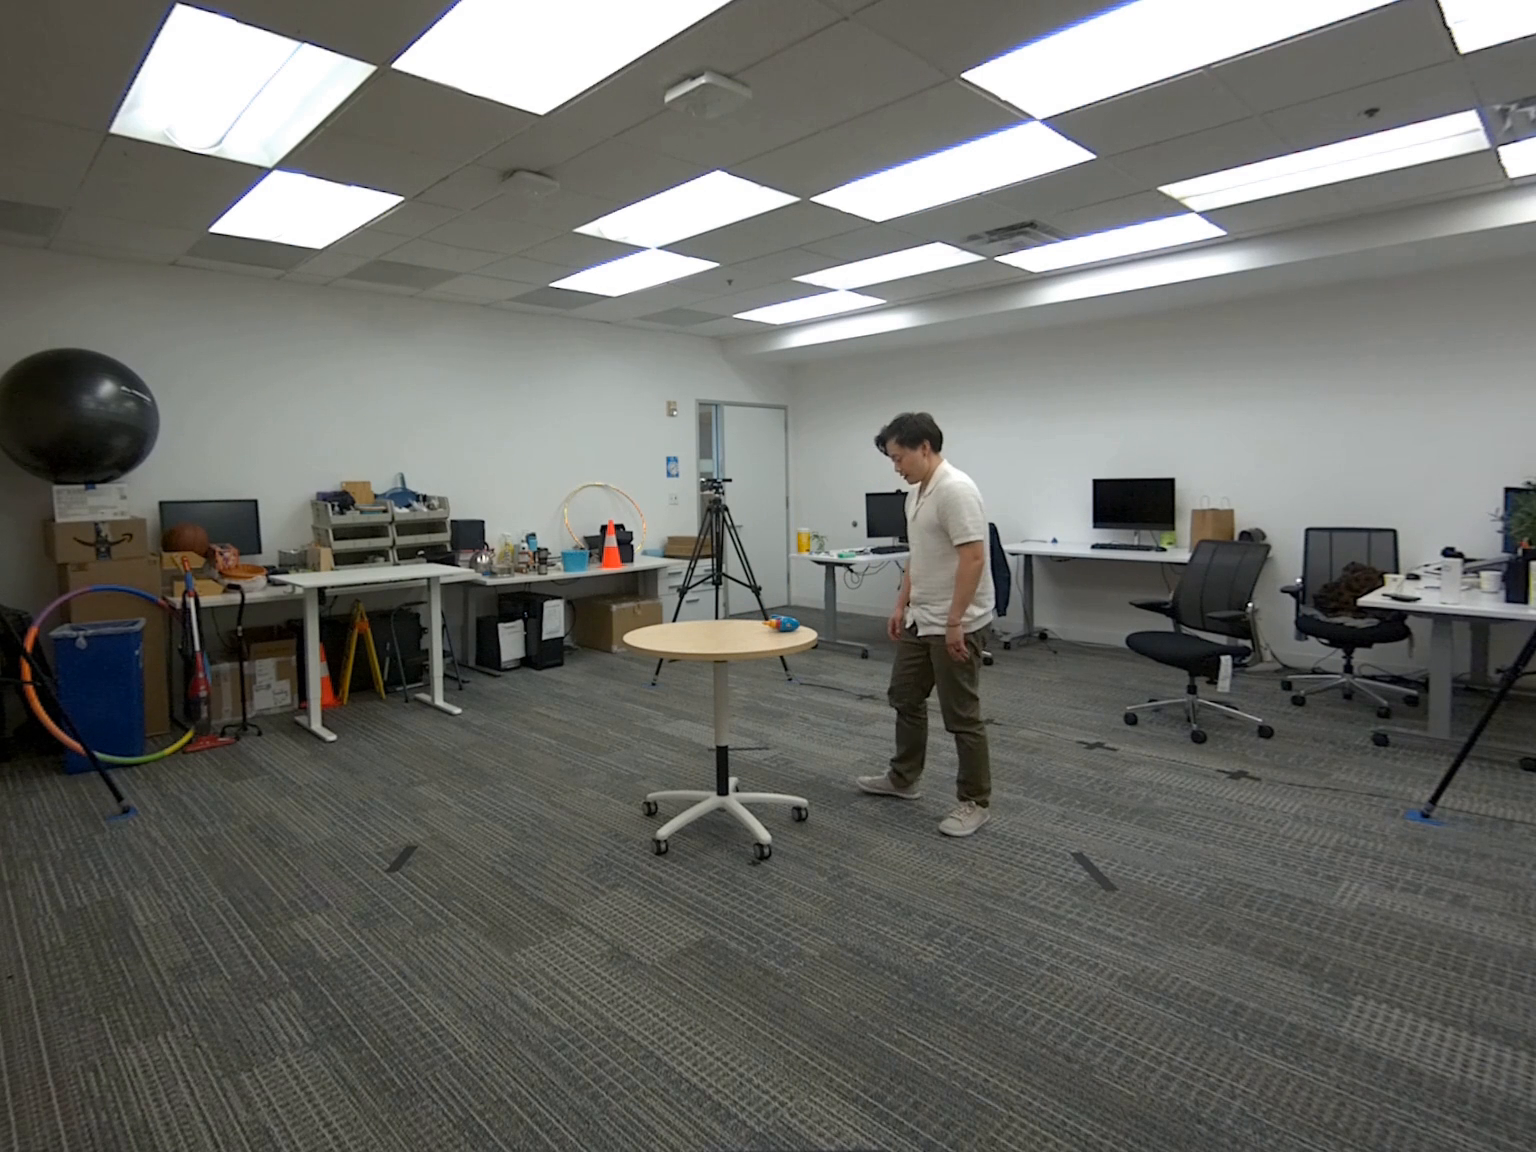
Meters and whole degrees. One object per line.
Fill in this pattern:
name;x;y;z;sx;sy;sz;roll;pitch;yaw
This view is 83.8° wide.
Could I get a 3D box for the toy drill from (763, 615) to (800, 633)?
toy drill;0.044;0.190;3.447;0.166;0.061;0.149;0;2;-21
